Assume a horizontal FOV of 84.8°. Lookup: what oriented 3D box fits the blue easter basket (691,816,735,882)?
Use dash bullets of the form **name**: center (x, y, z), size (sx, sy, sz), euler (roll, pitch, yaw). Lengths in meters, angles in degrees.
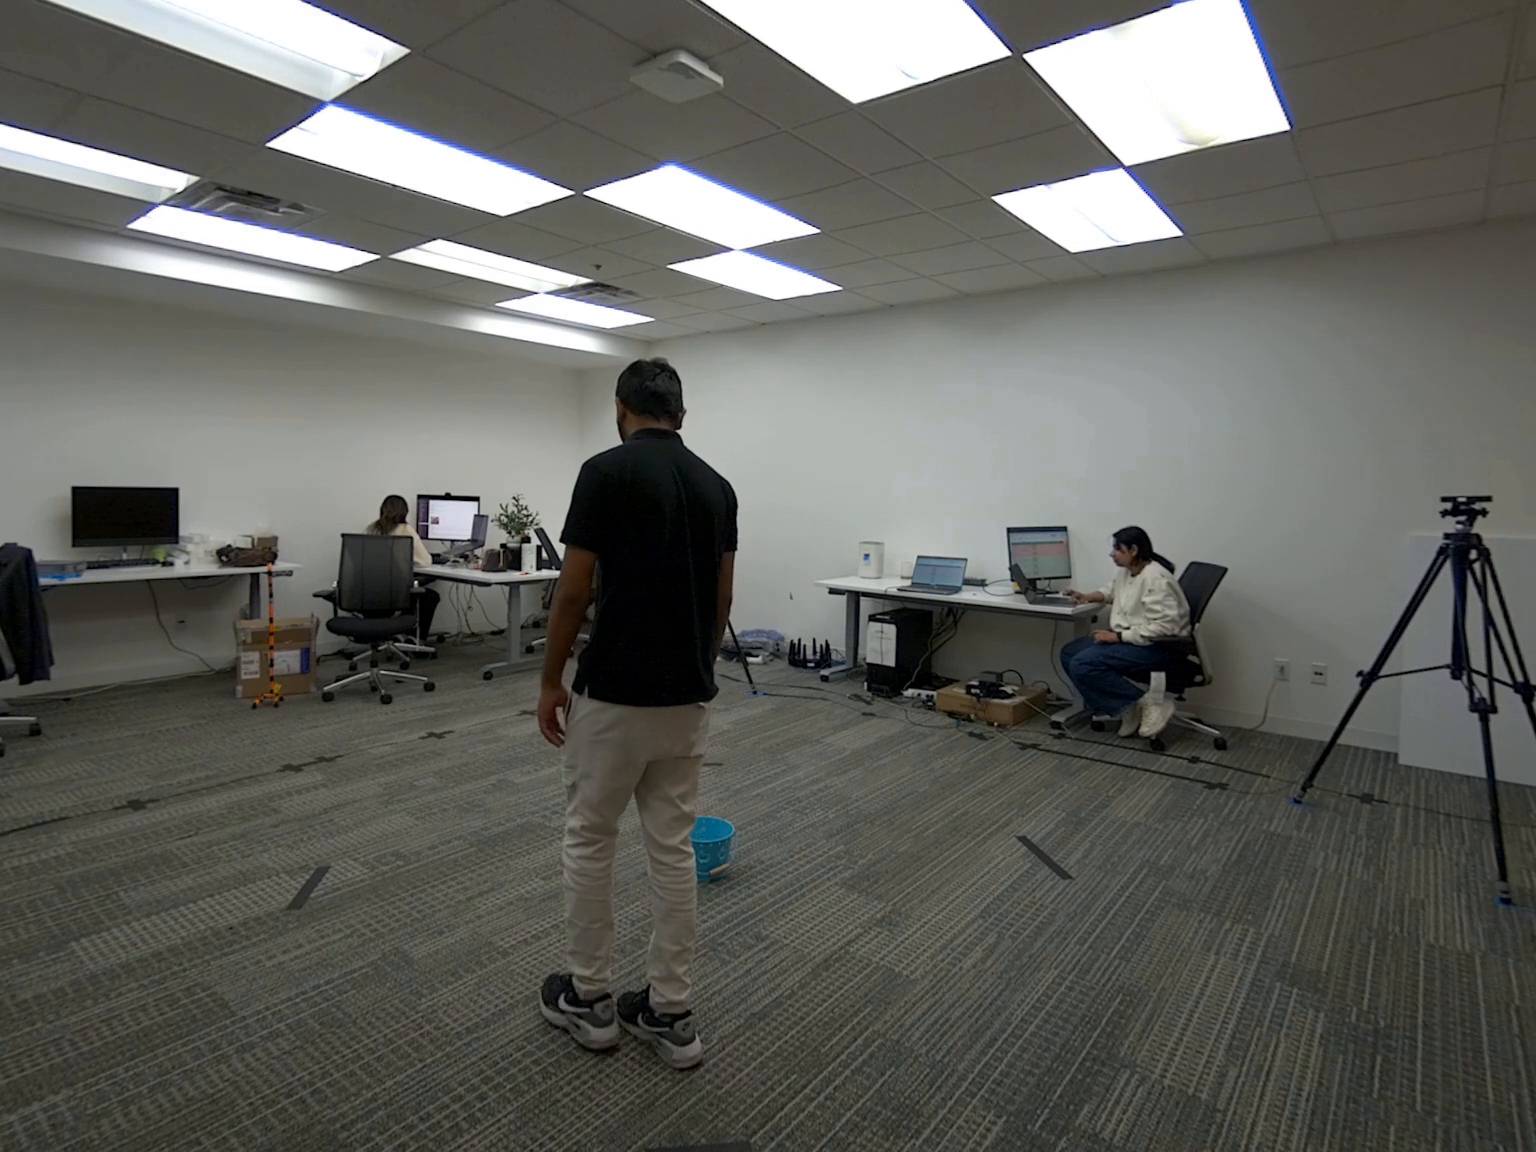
- **blue easter basket**: center (-0.247, 0.986, 3.093), size (0.243, 0.155, 0.245), euler (1, 4, -2)
